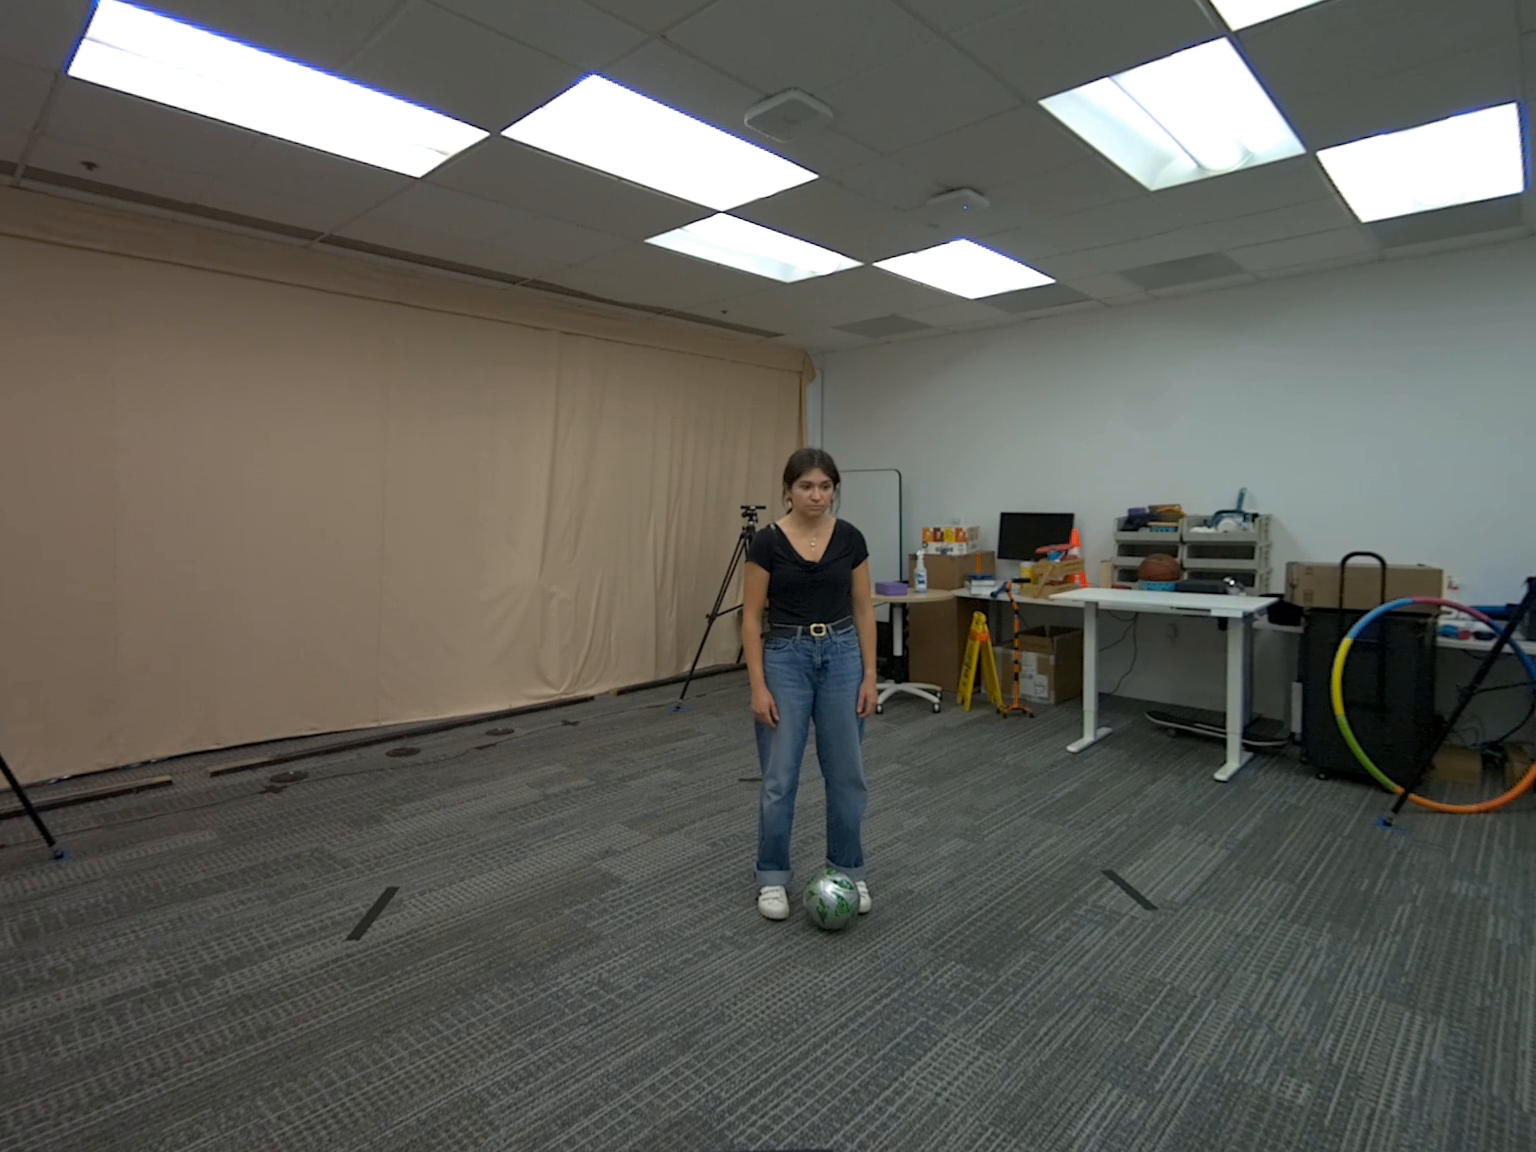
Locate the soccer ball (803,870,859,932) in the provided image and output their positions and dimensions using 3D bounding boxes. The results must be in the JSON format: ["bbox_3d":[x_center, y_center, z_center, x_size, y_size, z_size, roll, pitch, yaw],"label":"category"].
[{"bbox_3d":[0.208,1.070,2.776,0.187,0.187,0.188,0,4,-2],"label":"soccer ball"}]
